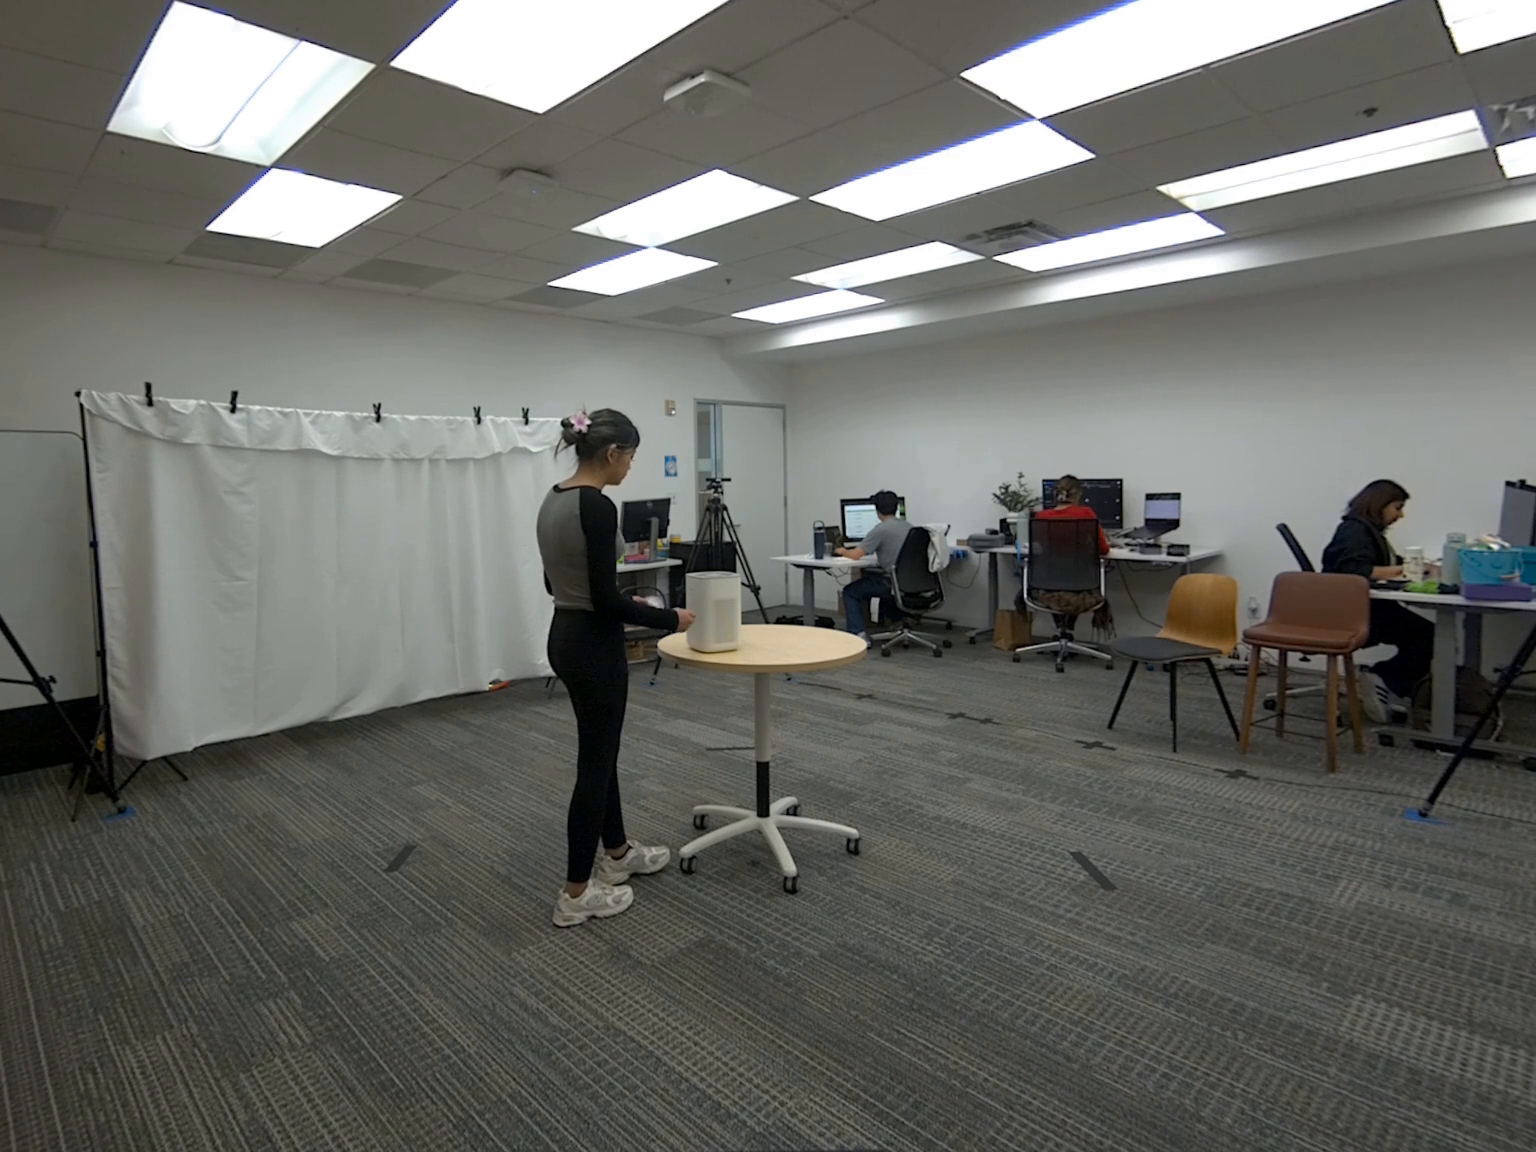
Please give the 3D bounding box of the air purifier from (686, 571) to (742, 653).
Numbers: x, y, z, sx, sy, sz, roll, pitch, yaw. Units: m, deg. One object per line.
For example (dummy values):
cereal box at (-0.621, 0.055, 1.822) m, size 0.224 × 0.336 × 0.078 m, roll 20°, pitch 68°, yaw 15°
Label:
air purifier at (-0.187, 0.123, 3.018) m, size 0.167 × 0.264 × 0.176 m, roll -2°, pitch 7°, yaw -29°
